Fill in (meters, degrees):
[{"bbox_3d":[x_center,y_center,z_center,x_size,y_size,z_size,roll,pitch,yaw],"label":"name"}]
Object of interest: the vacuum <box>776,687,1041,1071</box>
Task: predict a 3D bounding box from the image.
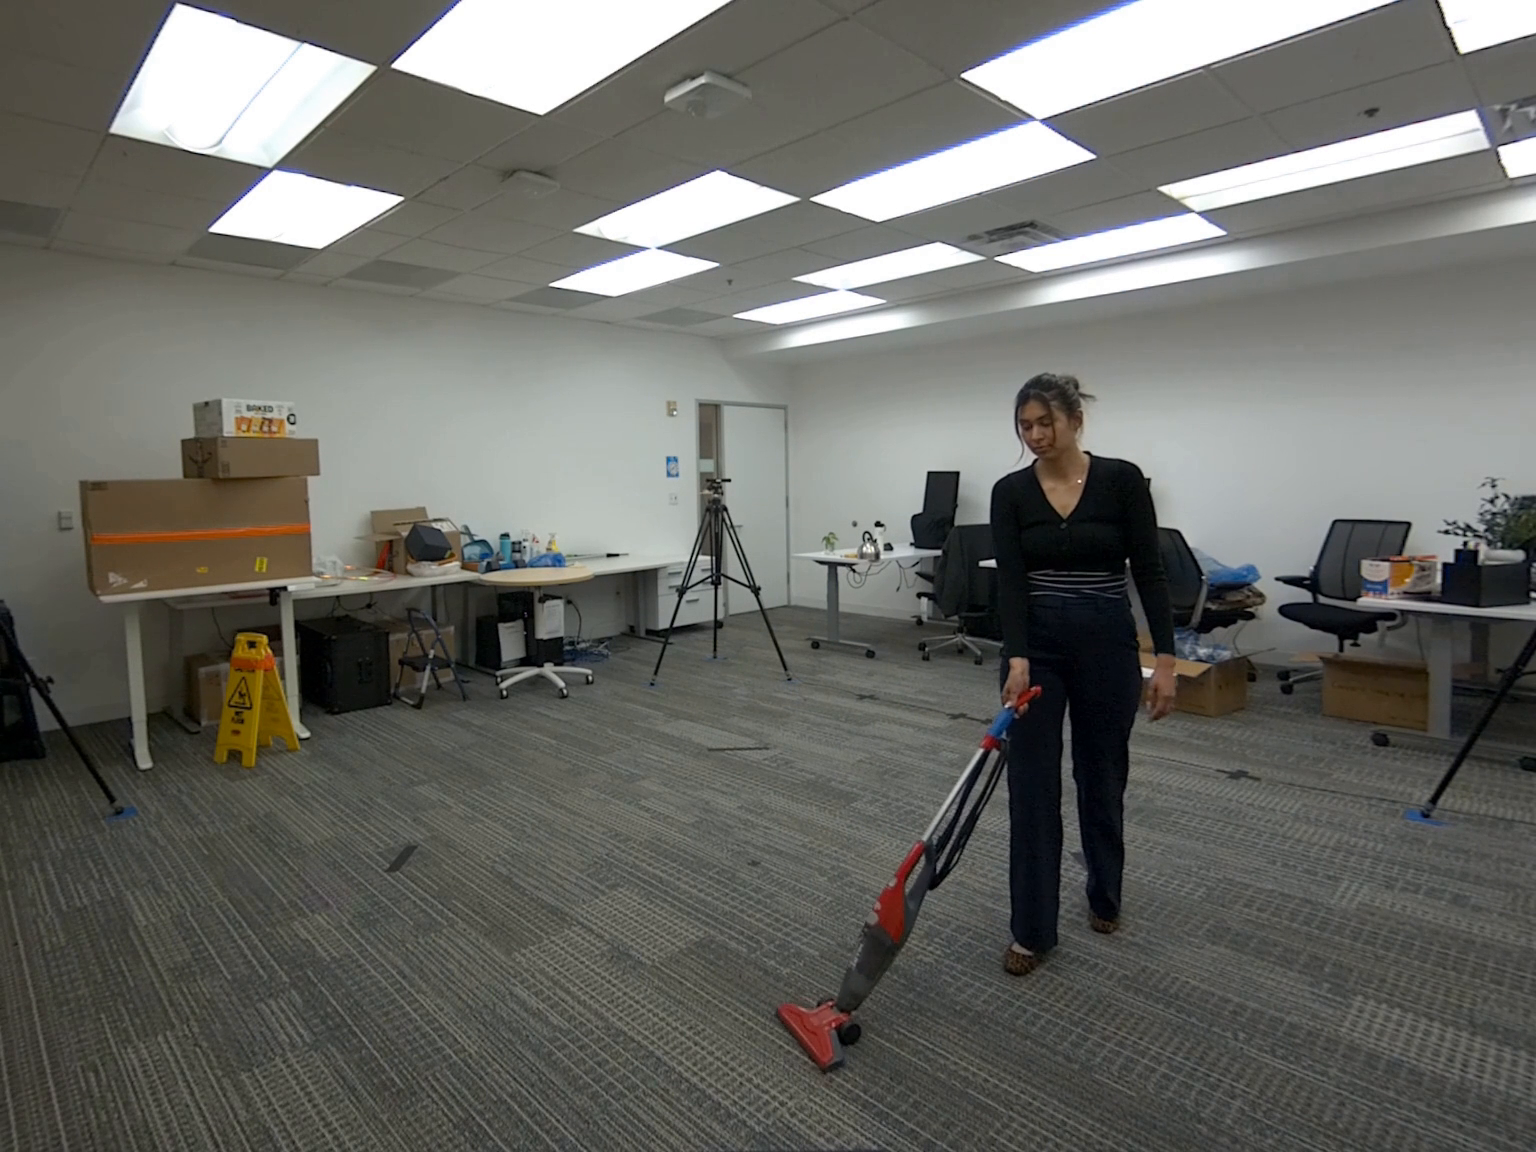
[{"bbox_3d":[0.442,0.750,2.263,0.261,1.051,0.139,21,-22,52],"label":"vacuum"}]
